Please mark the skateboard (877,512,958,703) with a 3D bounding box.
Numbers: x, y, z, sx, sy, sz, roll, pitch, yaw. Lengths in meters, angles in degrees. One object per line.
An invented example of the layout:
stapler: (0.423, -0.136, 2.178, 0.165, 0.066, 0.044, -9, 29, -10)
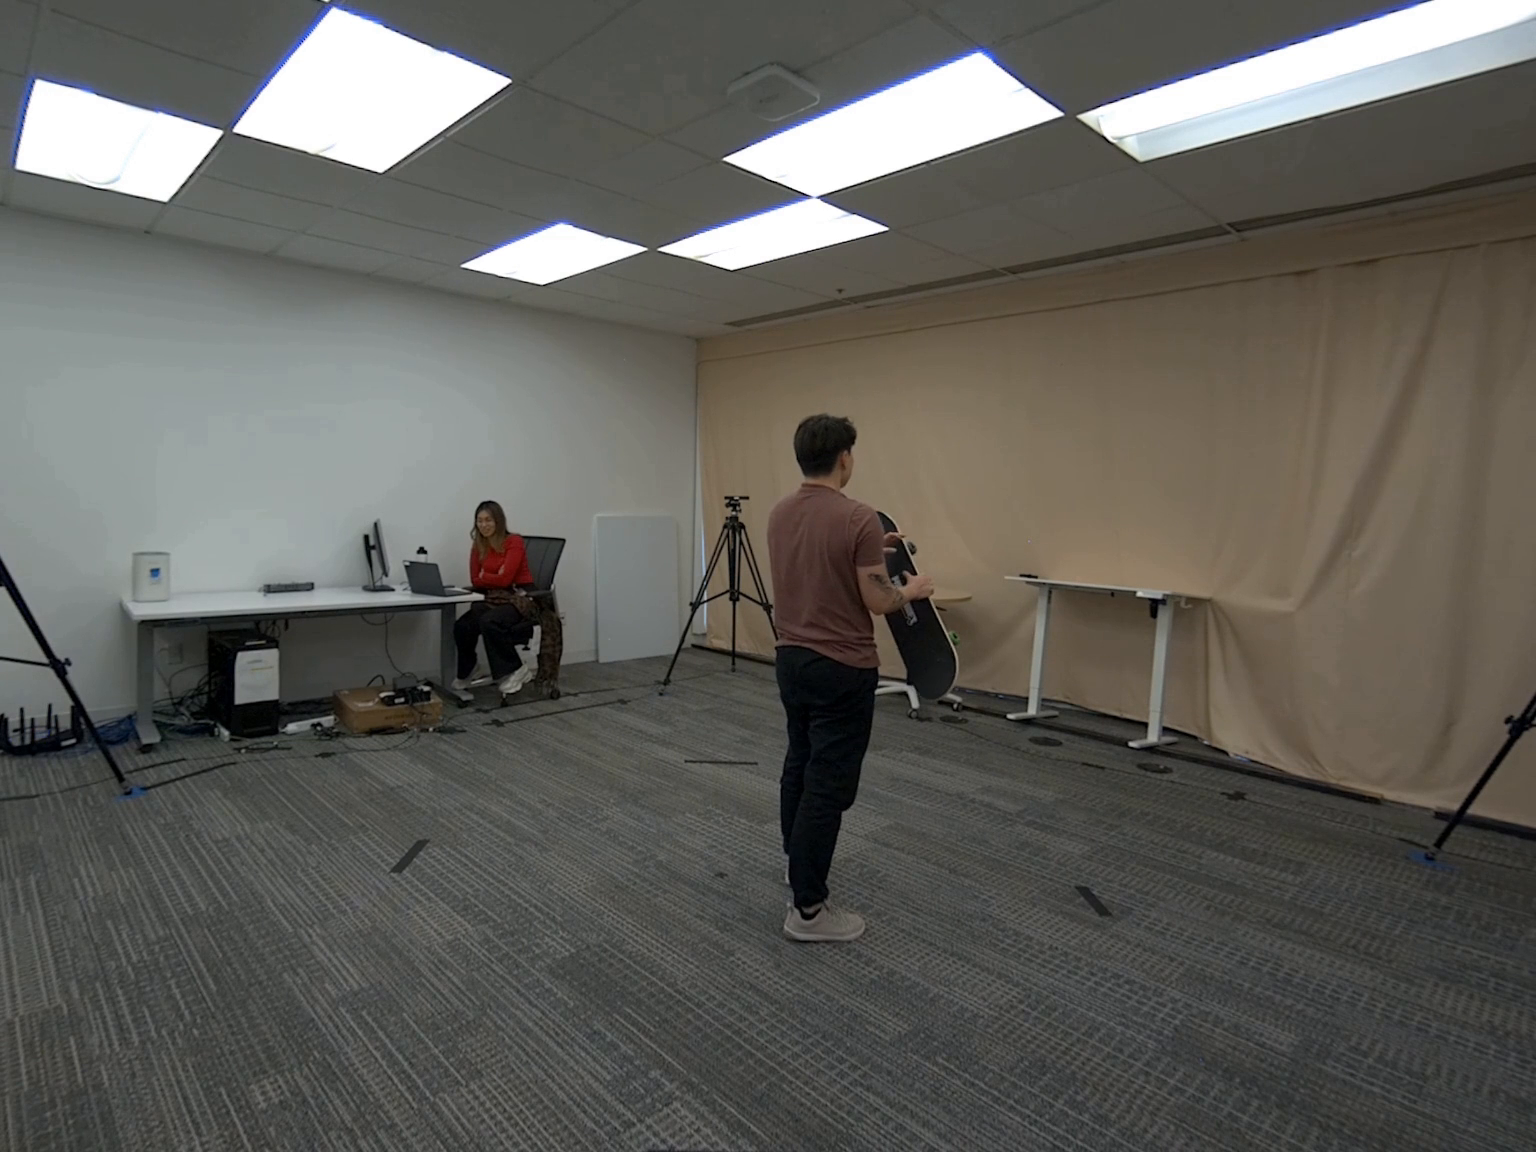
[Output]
skateboard: (0.495, 0.095, 2.977, 0.107, 0.807, 0.194, 18, -49, -38)
